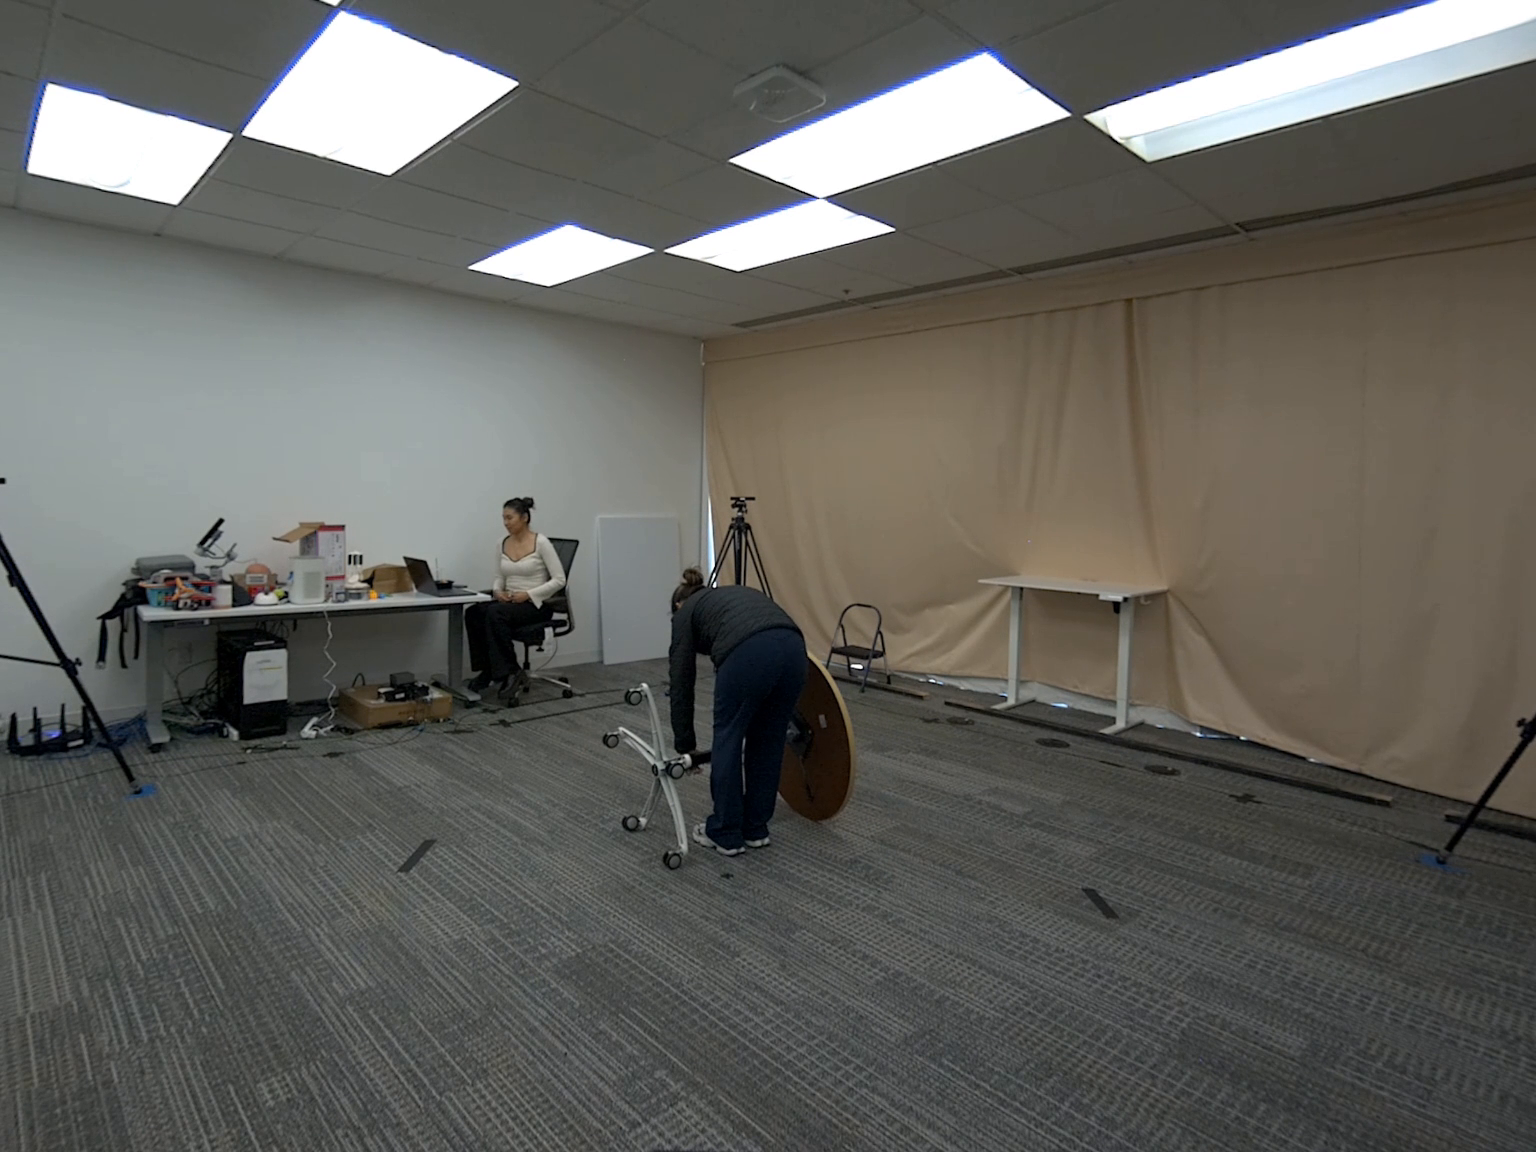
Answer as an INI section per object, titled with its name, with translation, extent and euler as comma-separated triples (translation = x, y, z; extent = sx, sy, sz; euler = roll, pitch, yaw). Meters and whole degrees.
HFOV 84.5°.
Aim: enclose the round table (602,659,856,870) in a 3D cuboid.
[round table]
translation = -0.186, 0.739, 3.486
extent = 0.772, 0.780, 0.804
euler = -9, 9, -32
